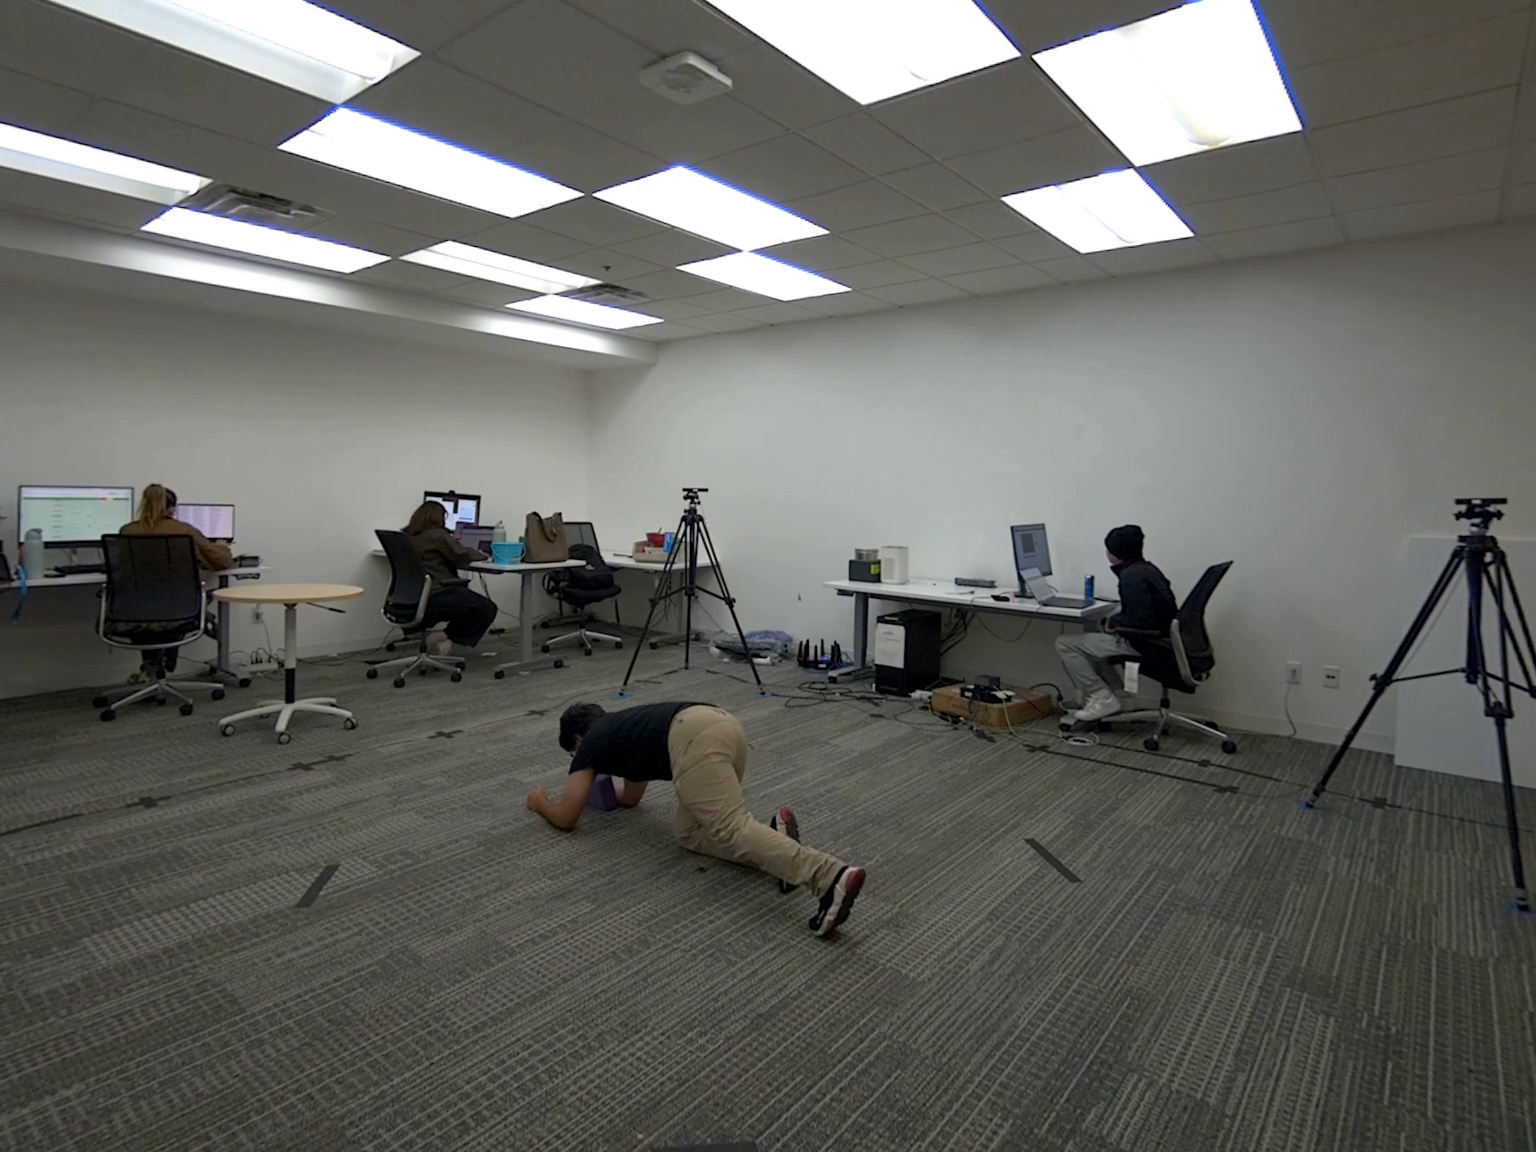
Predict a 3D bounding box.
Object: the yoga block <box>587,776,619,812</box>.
[{"bbox_3d":[-0.778,0.922,3.740,0.237,0.147,0.075,6,17,44],"label":"yoga block"}]
